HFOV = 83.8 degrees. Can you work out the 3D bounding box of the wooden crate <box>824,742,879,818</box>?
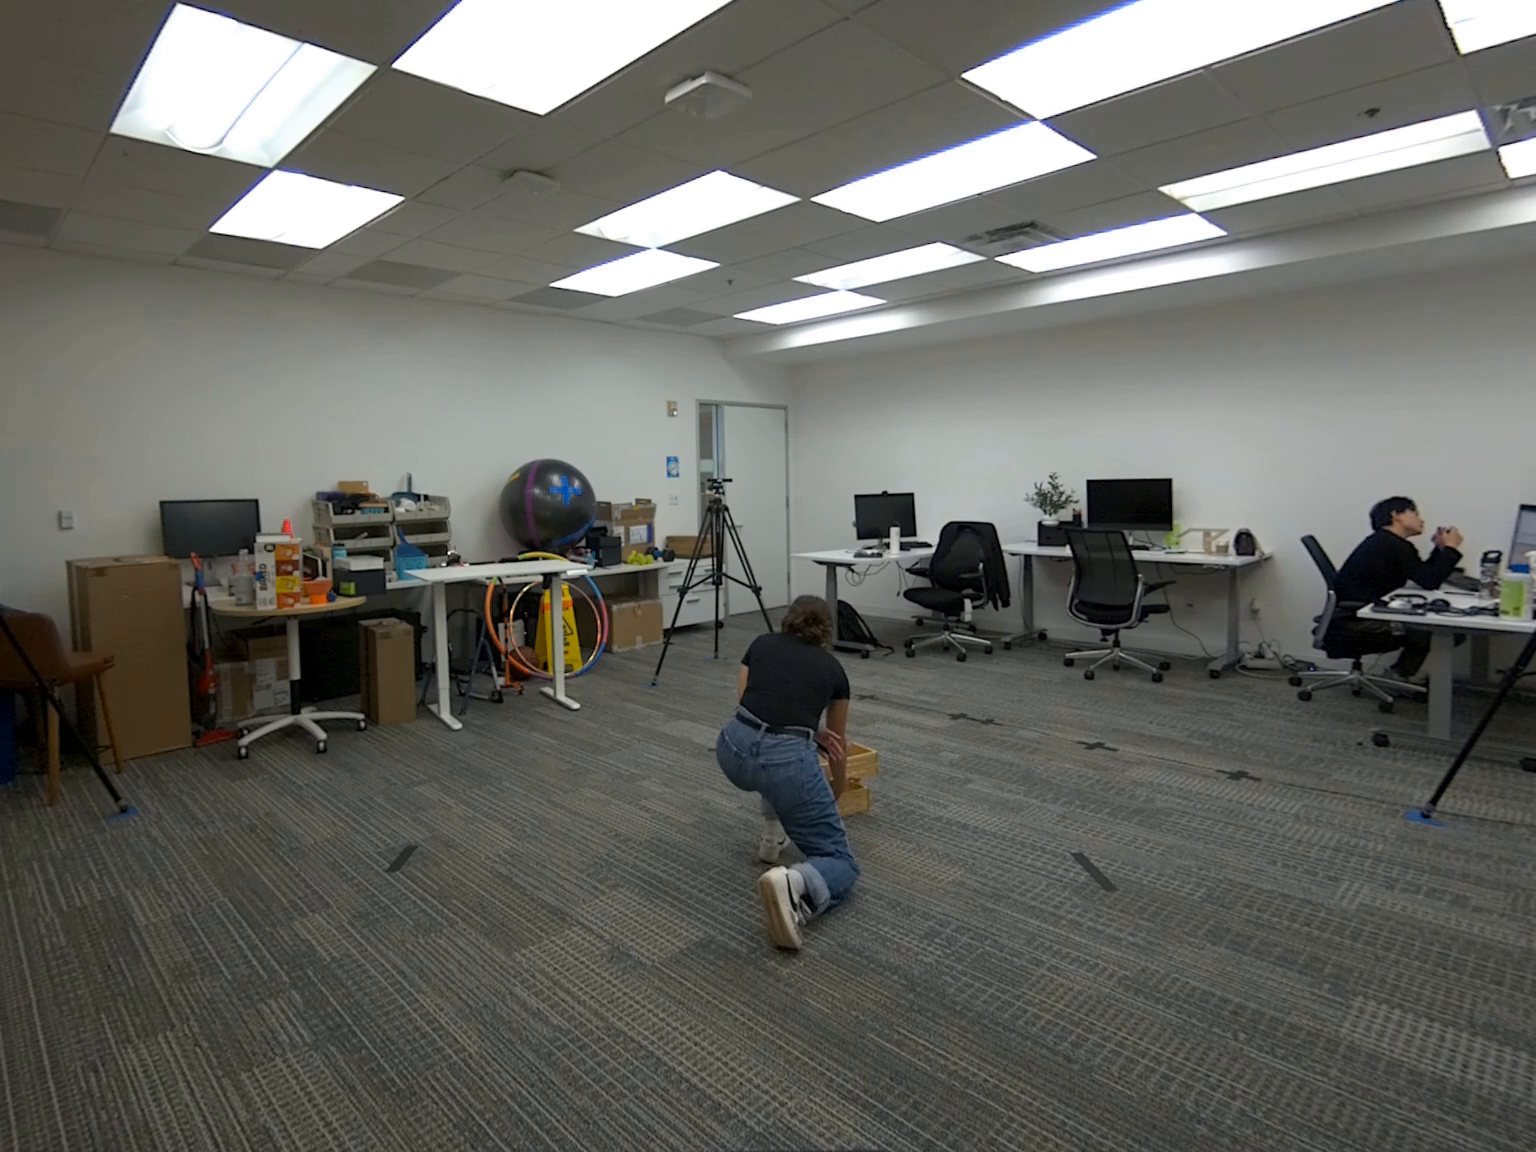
[{"bbox_3d":[0.249,0.852,3.600,0.316,0.272,0.311,-5,7,-35],"label":"wooden crate"}]
